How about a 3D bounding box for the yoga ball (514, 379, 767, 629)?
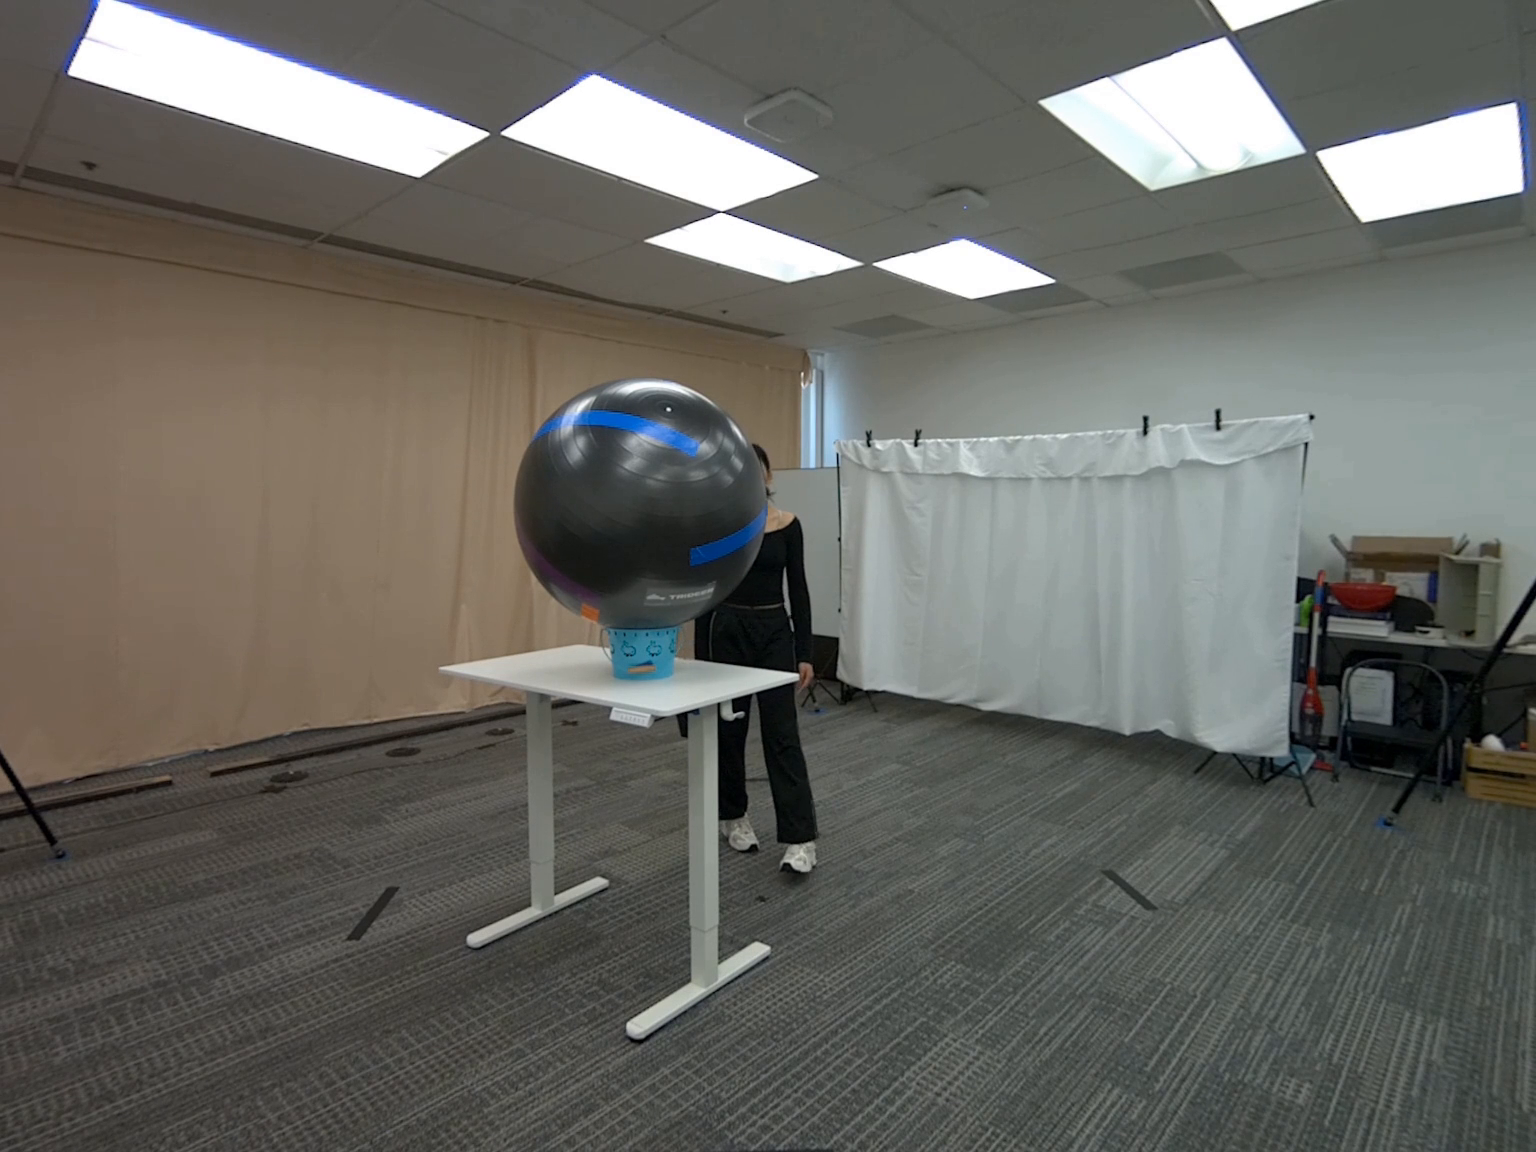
[{"bbox_3d":[-0.375,-0.204,2.541,0.757,0.756,0.761,0,4,-2],"label":"yoga ball"}]
